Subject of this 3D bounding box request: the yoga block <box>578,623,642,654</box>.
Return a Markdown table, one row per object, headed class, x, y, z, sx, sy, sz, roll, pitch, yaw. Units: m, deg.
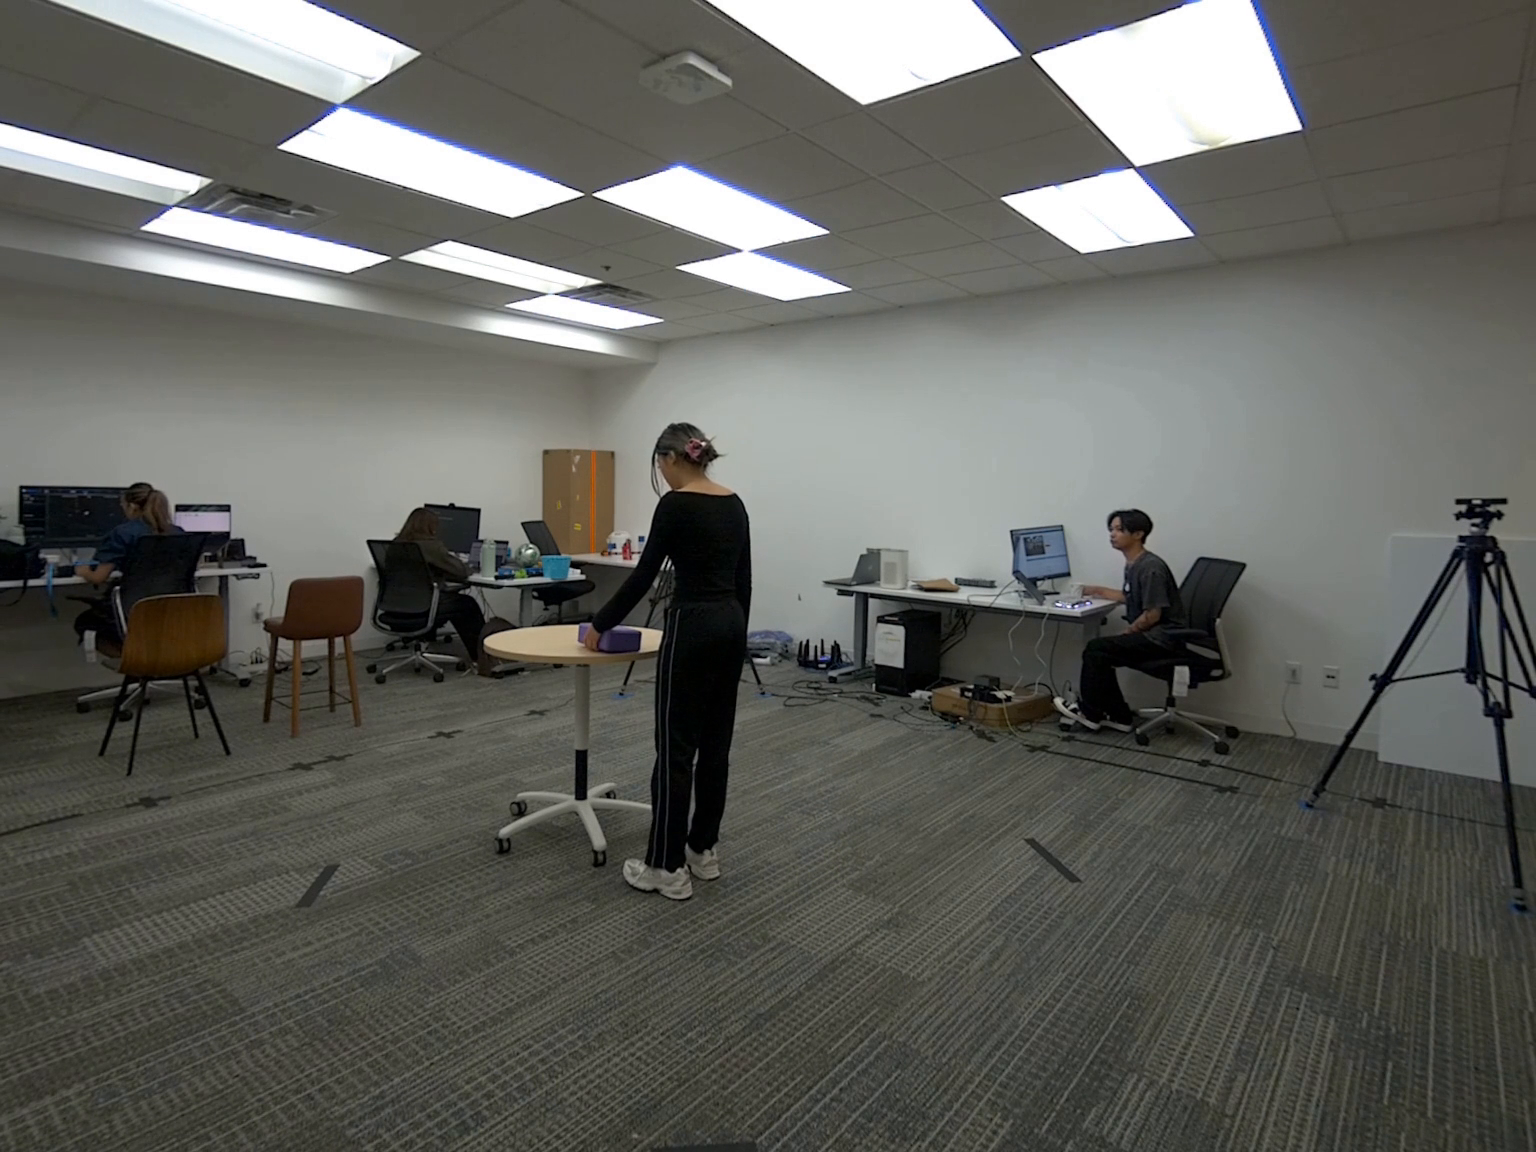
| class | x | y | z | sx | sy | sz | roll | pitch | yaw |
| --- | --- | --- | --- | --- | --- | --- | --- | --- | --- |
| yoga block | -0.615 | 0.227 | 3.179 | 0.144 | 0.076 | 0.237 | 4 | 2 | -37 |
